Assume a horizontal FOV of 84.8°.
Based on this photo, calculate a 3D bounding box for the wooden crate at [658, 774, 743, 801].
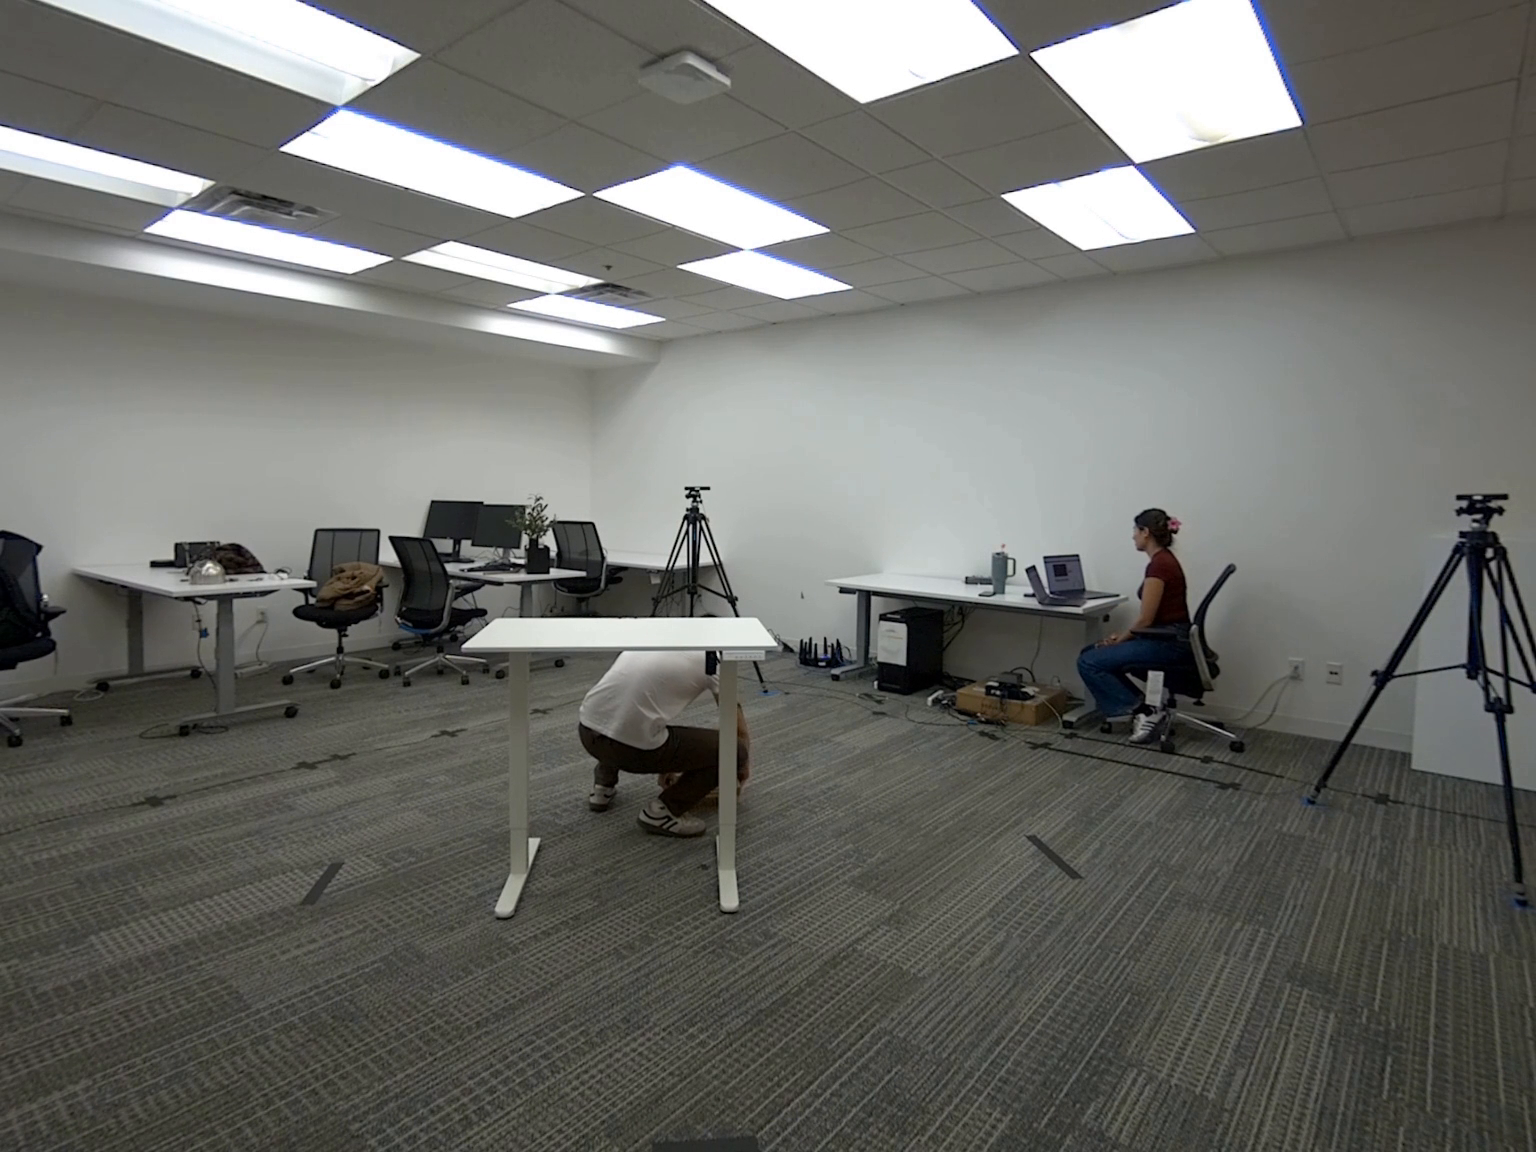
[{"bbox_3d":[-0.315,0.828,3.808,0.321,0.274,0.304,-2,-2,-11],"label":"wooden crate"}]
